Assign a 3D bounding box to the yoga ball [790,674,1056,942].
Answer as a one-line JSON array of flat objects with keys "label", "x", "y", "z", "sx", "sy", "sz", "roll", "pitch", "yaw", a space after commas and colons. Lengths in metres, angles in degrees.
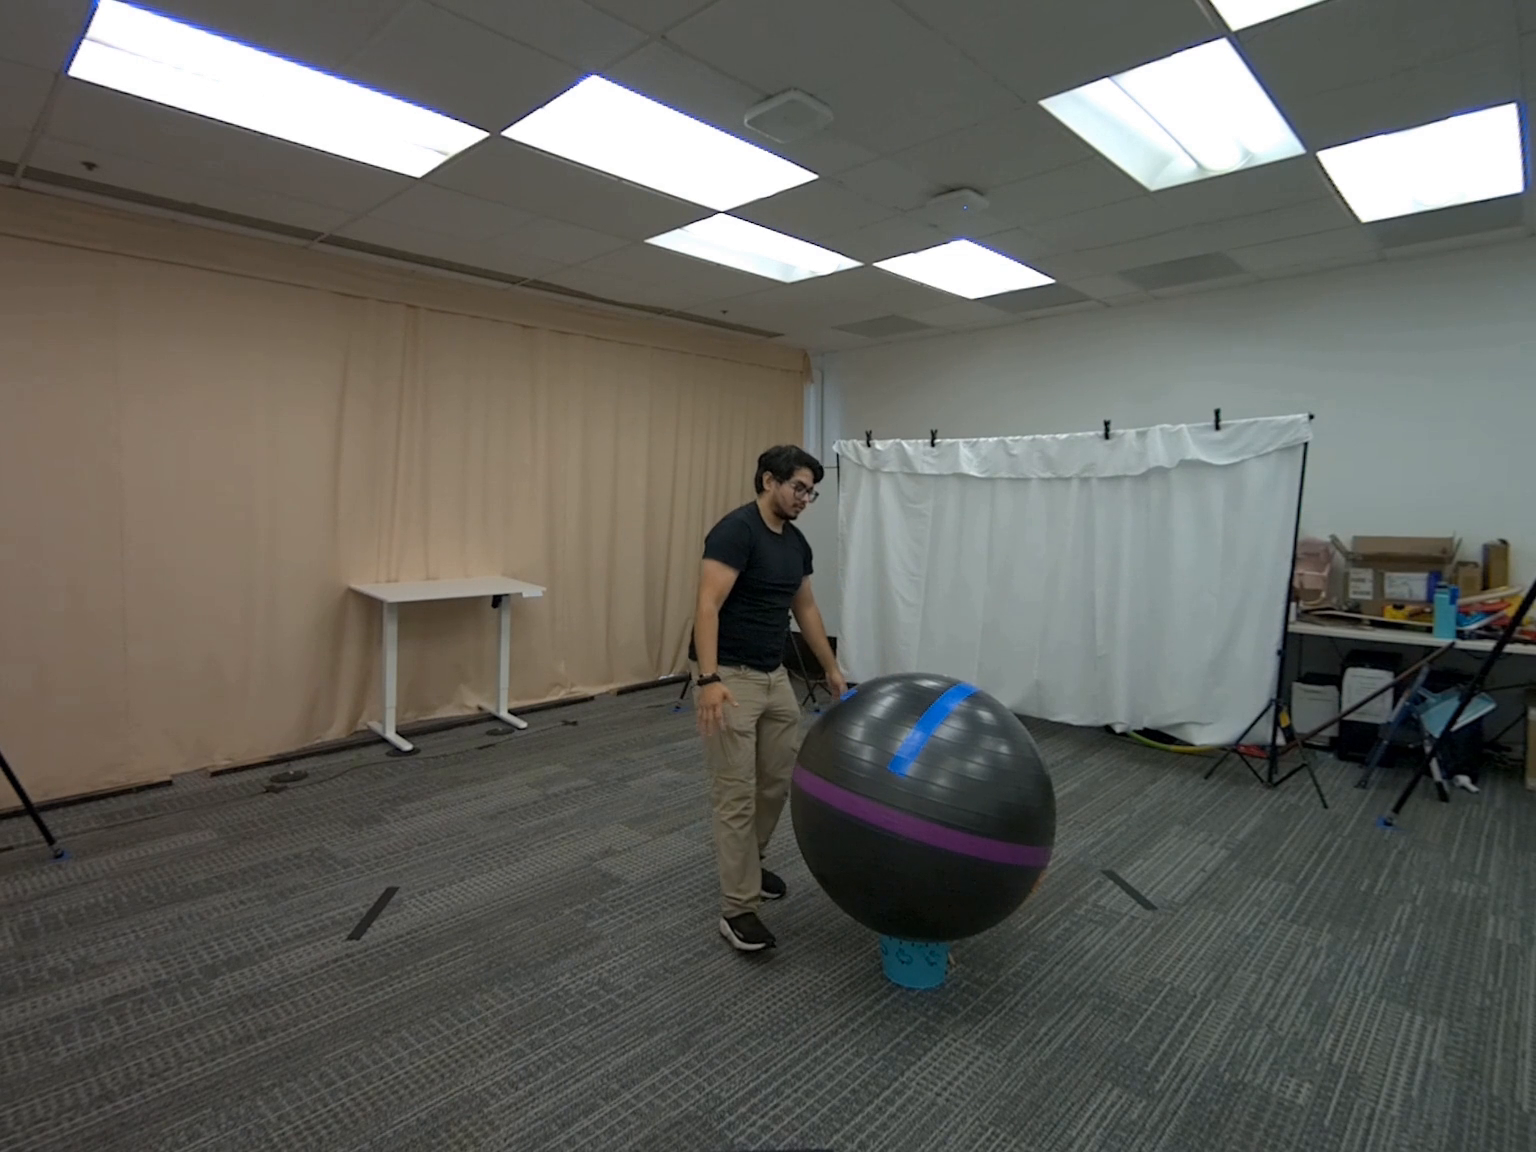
[{"label": "yoga ball", "x": 0.470, "y": 0.685, "z": 2.488, "sx": 0.757, "sy": 0.756, "sz": 0.761, "roll": 0, "pitch": 4, "yaw": -2}]
